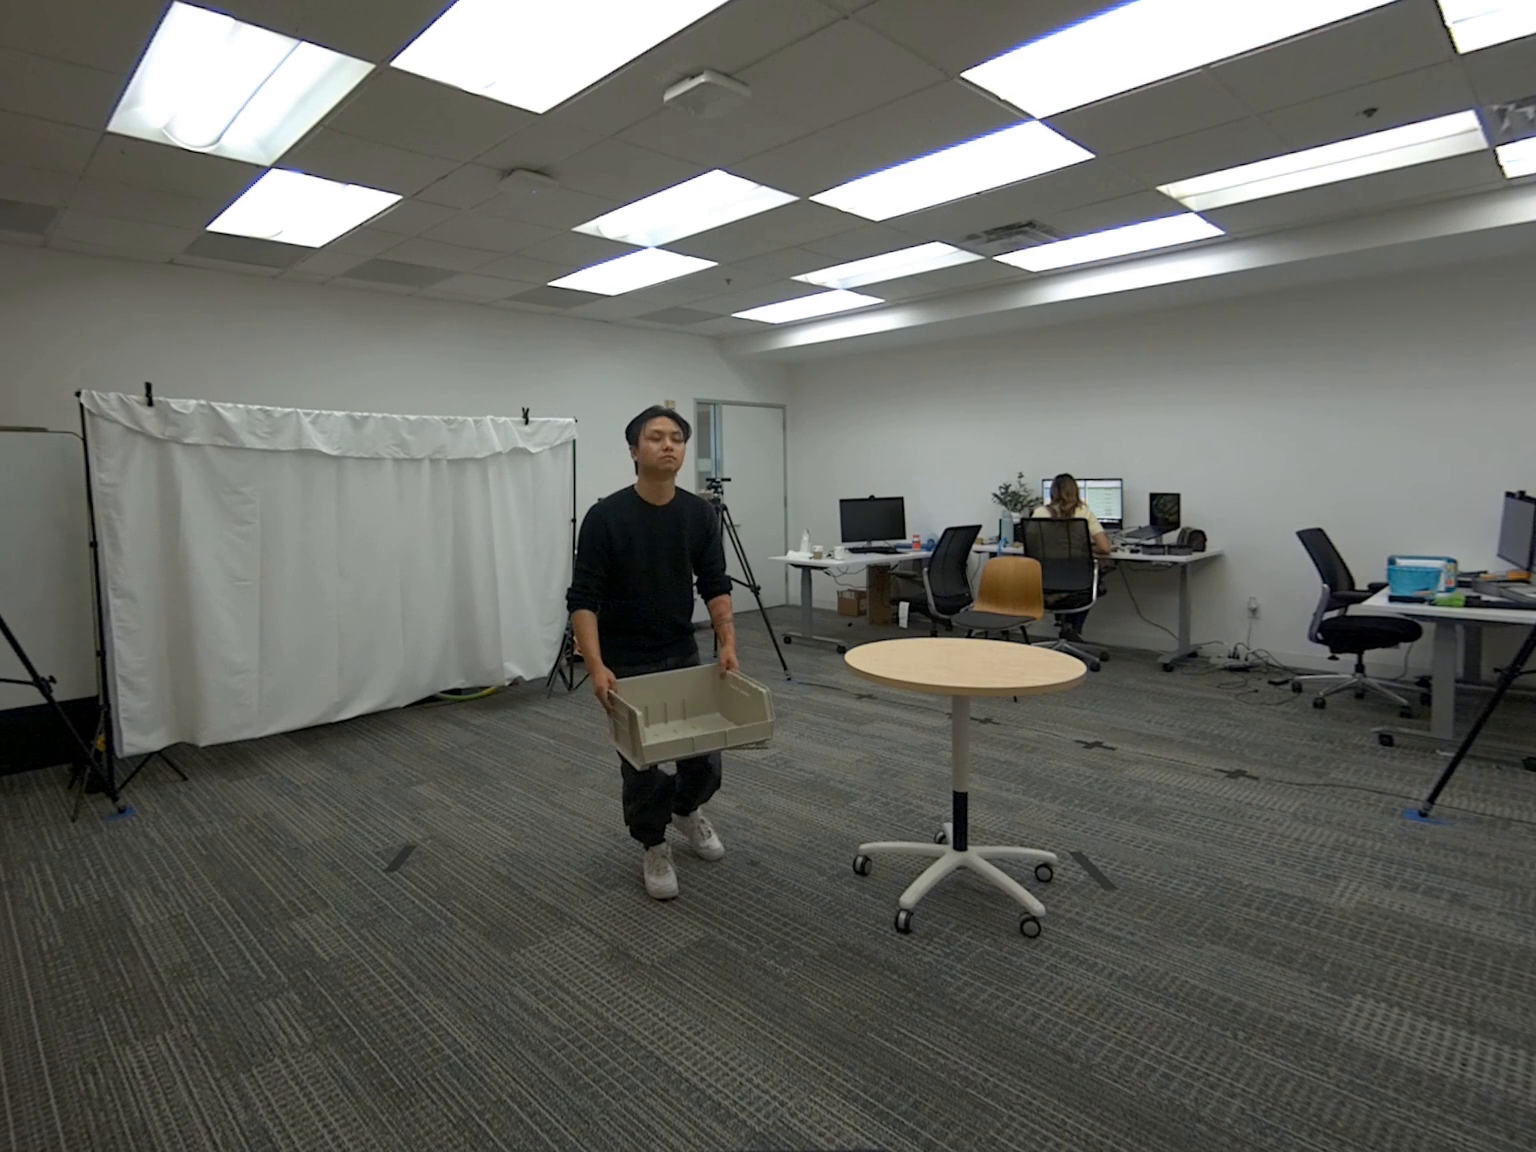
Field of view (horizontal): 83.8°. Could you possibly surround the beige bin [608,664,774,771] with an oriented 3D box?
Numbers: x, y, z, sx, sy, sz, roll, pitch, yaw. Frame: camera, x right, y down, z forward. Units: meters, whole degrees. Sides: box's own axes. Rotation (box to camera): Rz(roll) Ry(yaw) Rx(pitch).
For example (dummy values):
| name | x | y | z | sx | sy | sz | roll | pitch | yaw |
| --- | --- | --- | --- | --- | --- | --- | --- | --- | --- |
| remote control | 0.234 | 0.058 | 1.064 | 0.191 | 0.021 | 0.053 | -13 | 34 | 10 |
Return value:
| name | x | y | z | sx | sy | sz | roll | pitch | yaw |
| --- | --- | --- | --- | --- | --- | --- | --- | --- | --- |
| beige bin | -0.251 | 0.424 | 2.607 | 0.414 | 0.188 | 0.387 | -7 | 8 | -26 |
